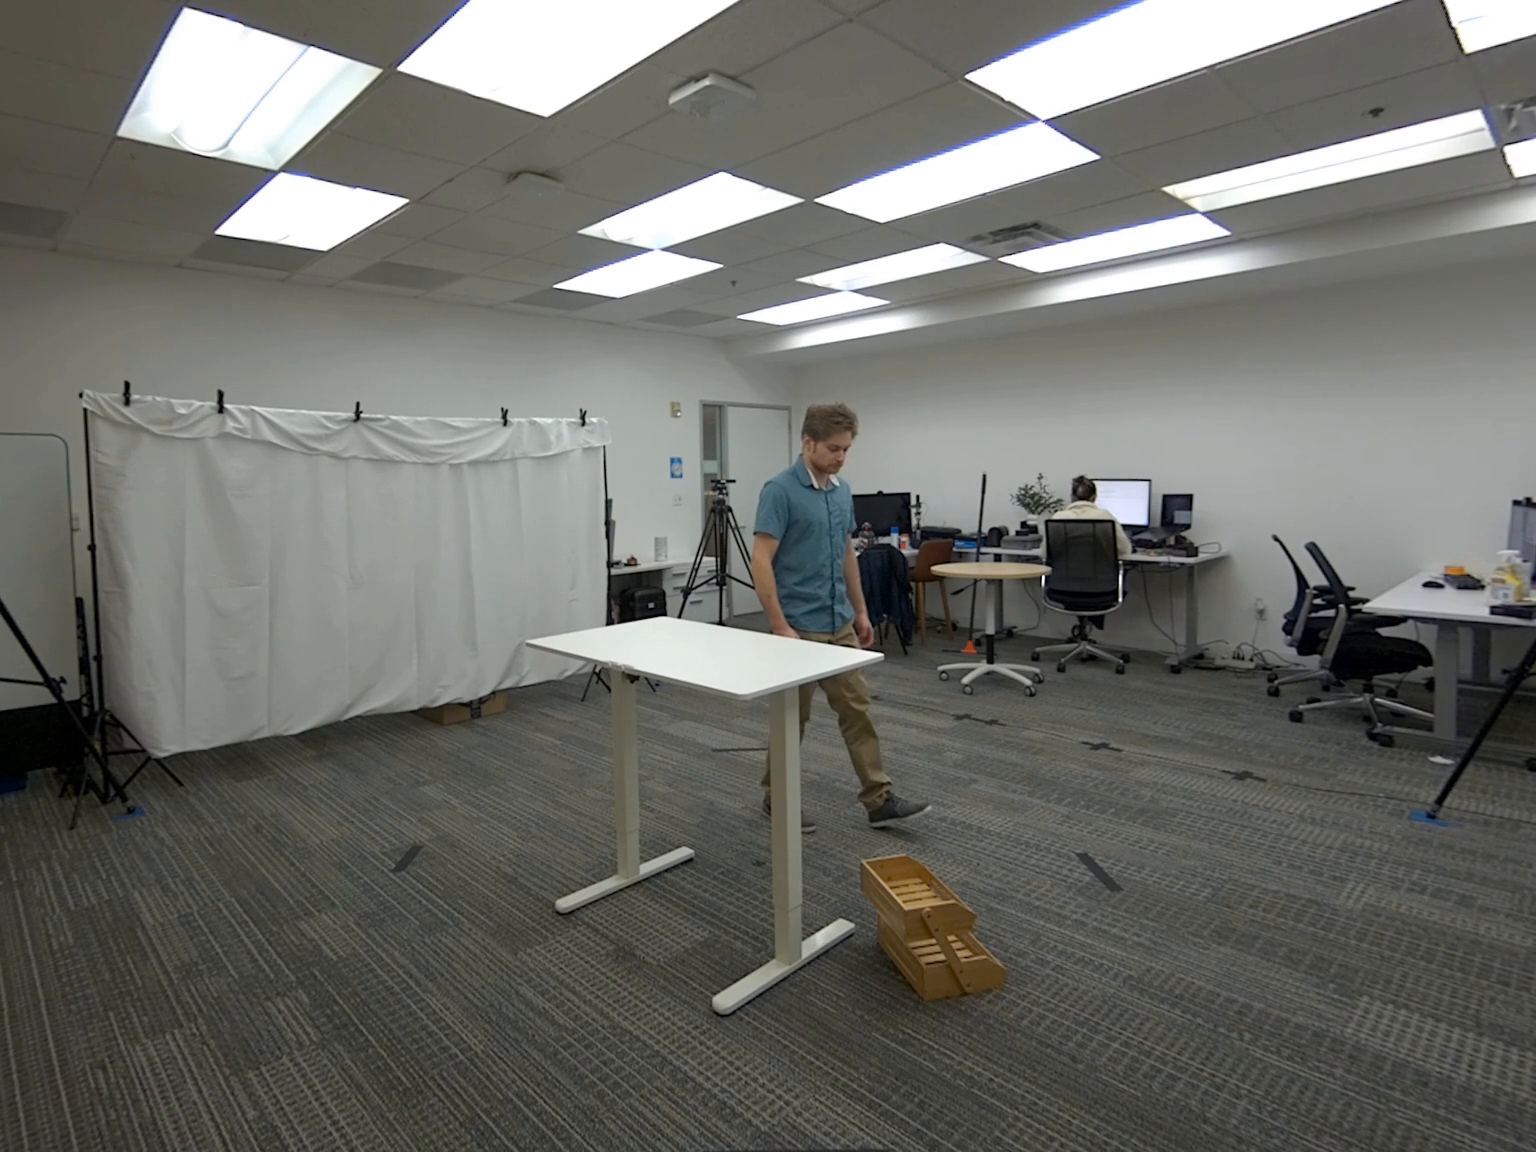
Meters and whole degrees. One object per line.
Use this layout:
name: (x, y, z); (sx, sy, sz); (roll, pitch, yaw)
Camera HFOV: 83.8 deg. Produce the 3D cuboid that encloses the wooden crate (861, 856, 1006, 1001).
wooden crate: (0.471, 0.981, 2.437); (0.298, 0.272, 0.330); (-3, 5, -15)
